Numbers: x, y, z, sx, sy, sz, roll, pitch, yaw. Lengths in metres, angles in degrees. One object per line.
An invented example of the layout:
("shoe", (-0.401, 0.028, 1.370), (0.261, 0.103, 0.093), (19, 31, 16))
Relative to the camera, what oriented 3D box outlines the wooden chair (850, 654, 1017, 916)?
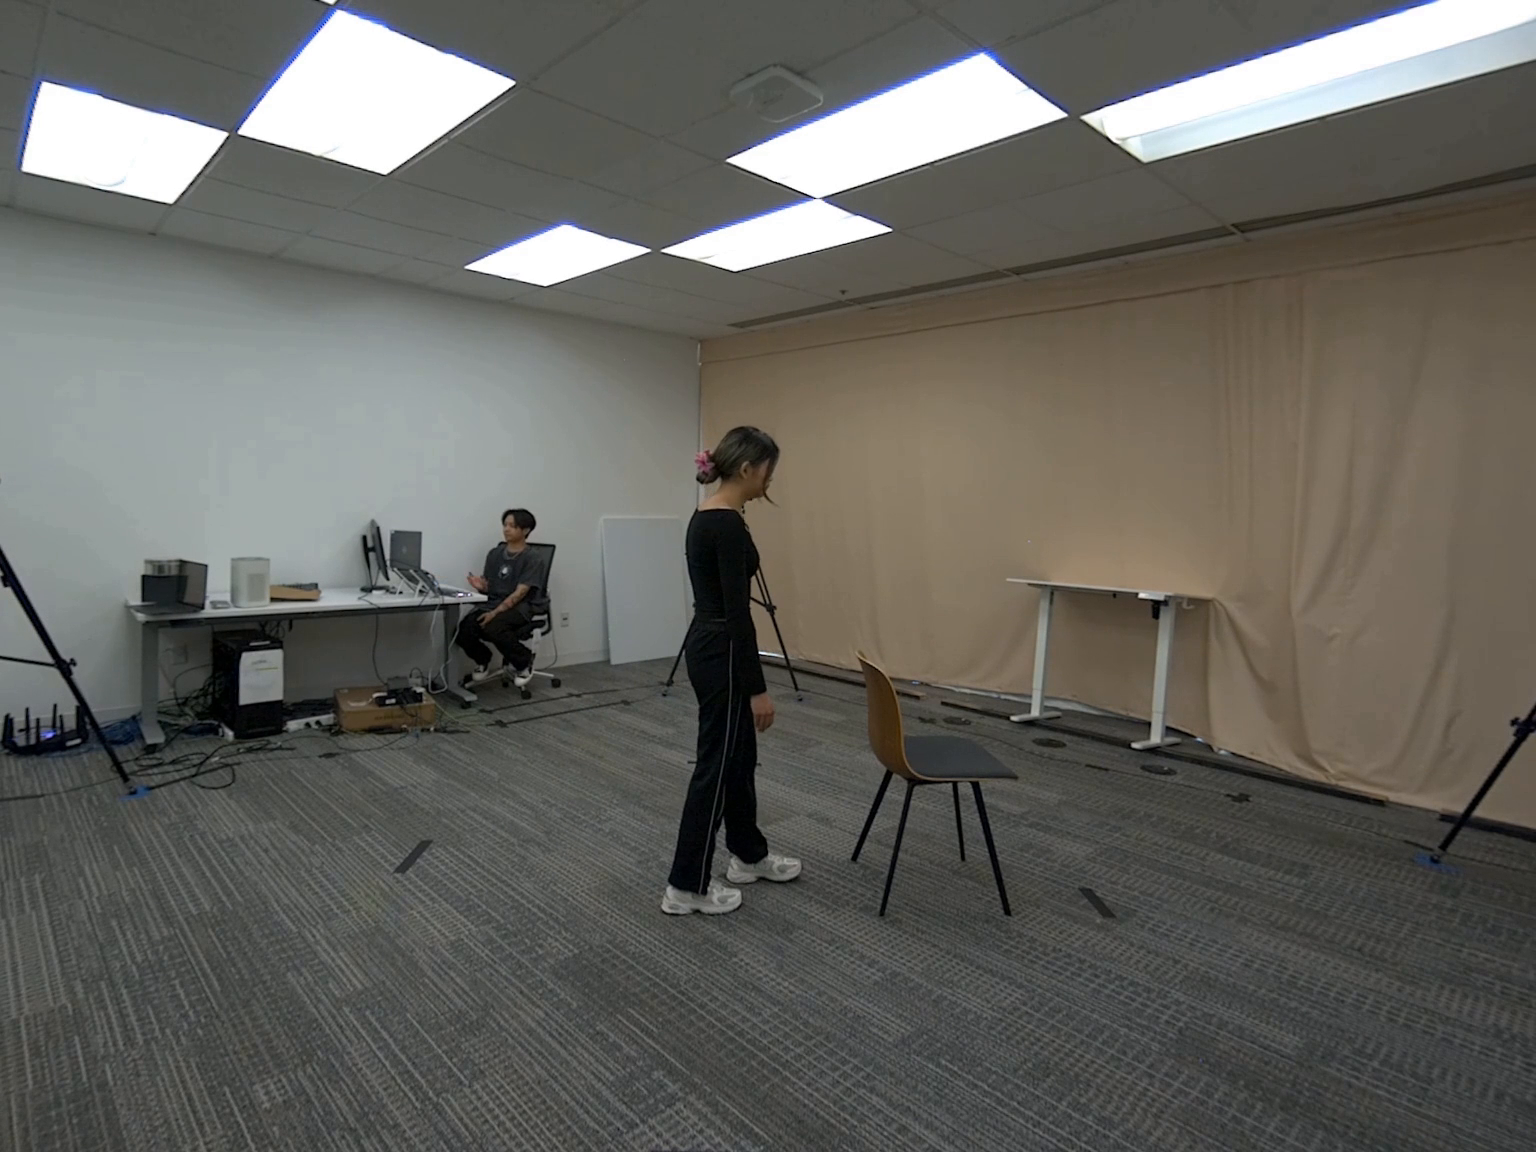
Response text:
("wooden chair", (0.592, 0.705, 3.037), (0.521, 0.875, 0.481), (-2, 3, -5))
